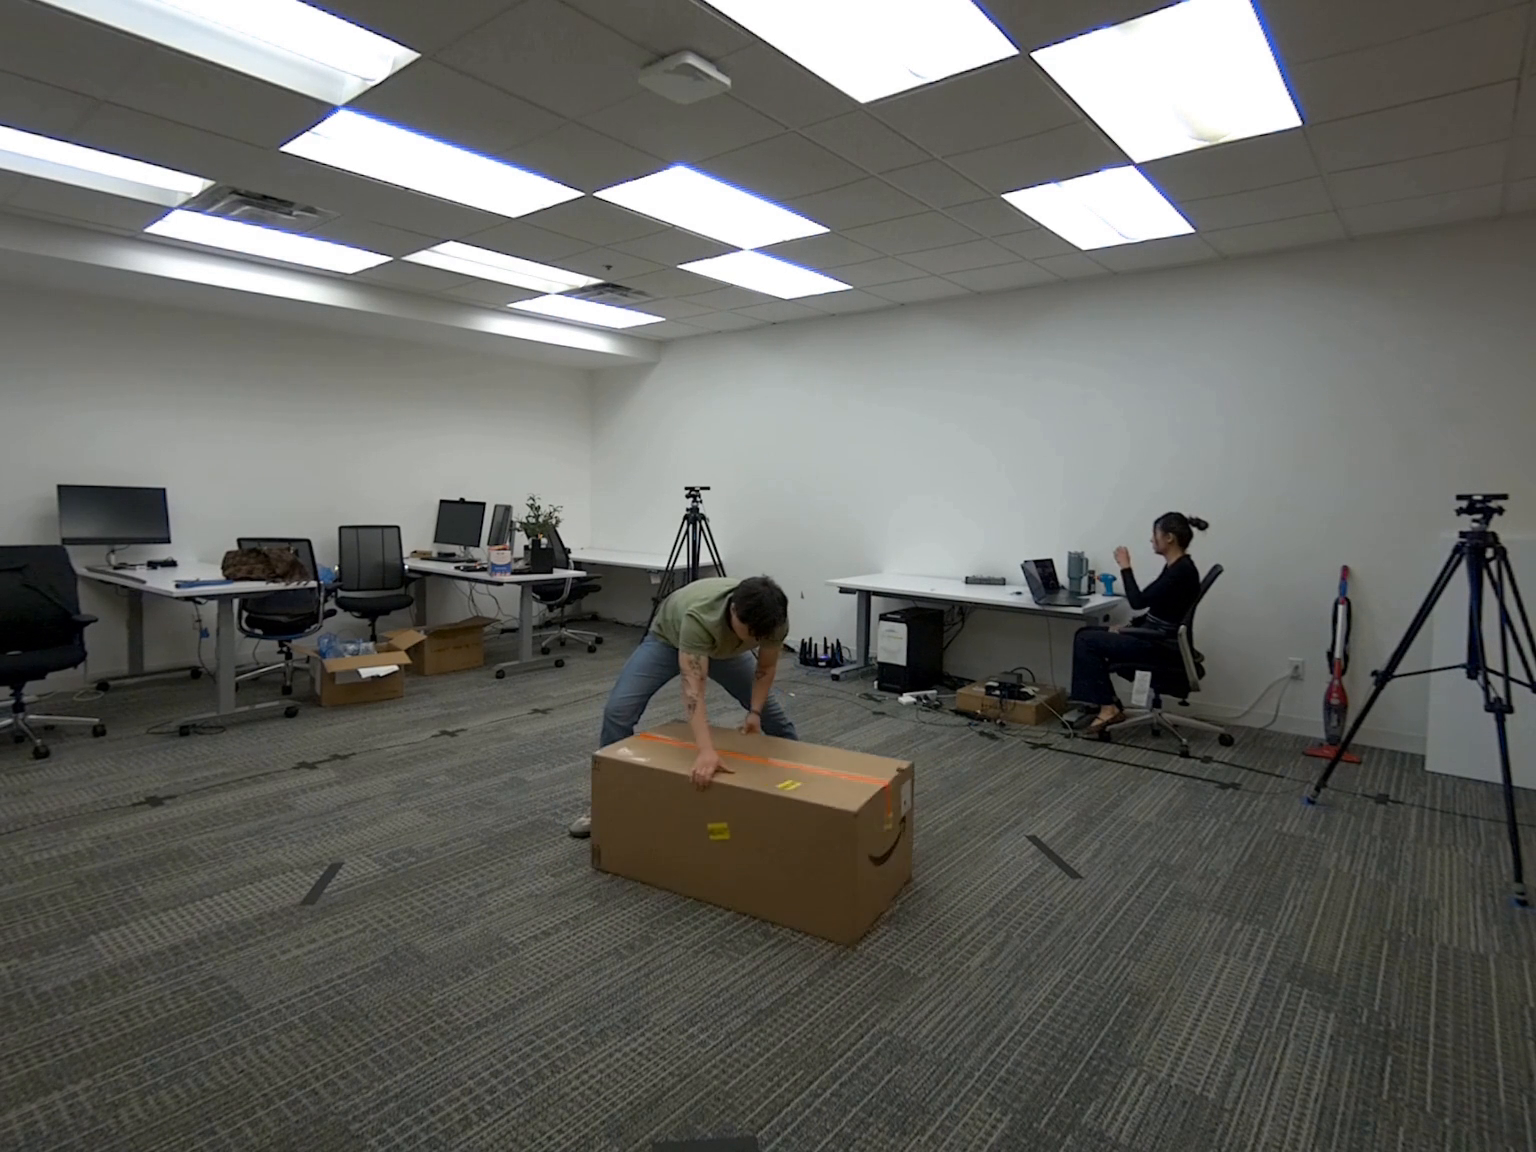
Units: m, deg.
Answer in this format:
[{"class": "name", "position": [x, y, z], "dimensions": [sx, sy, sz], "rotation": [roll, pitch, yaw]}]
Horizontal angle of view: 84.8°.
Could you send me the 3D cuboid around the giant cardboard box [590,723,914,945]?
[{"class": "giant cardboard box", "position": [-0.066, 0.857, 3.067], "dimensions": [1.056, 0.424, 0.563], "rotation": [4, 6, 30]}]
